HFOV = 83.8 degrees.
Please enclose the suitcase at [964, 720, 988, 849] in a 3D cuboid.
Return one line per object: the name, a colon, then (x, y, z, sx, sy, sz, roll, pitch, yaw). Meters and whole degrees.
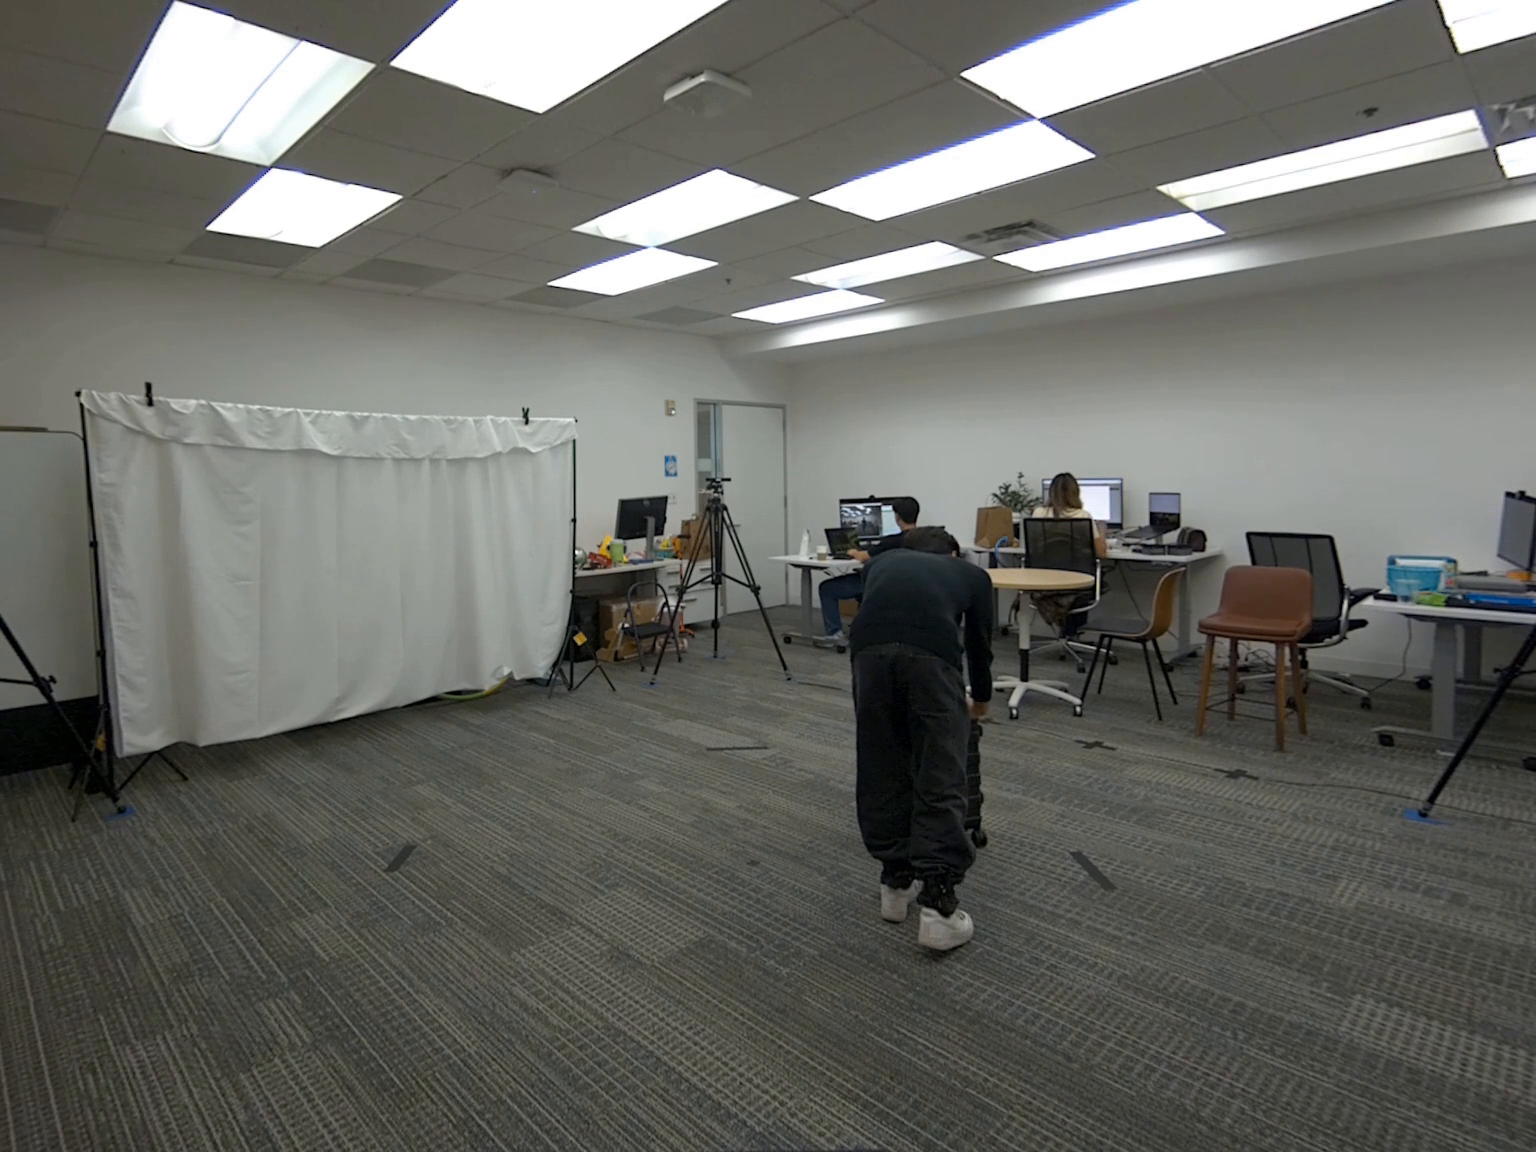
suitcase: (0.629, 0.734, 3.303, 0.371, 0.549, 0.251, -2, 1, -12)
